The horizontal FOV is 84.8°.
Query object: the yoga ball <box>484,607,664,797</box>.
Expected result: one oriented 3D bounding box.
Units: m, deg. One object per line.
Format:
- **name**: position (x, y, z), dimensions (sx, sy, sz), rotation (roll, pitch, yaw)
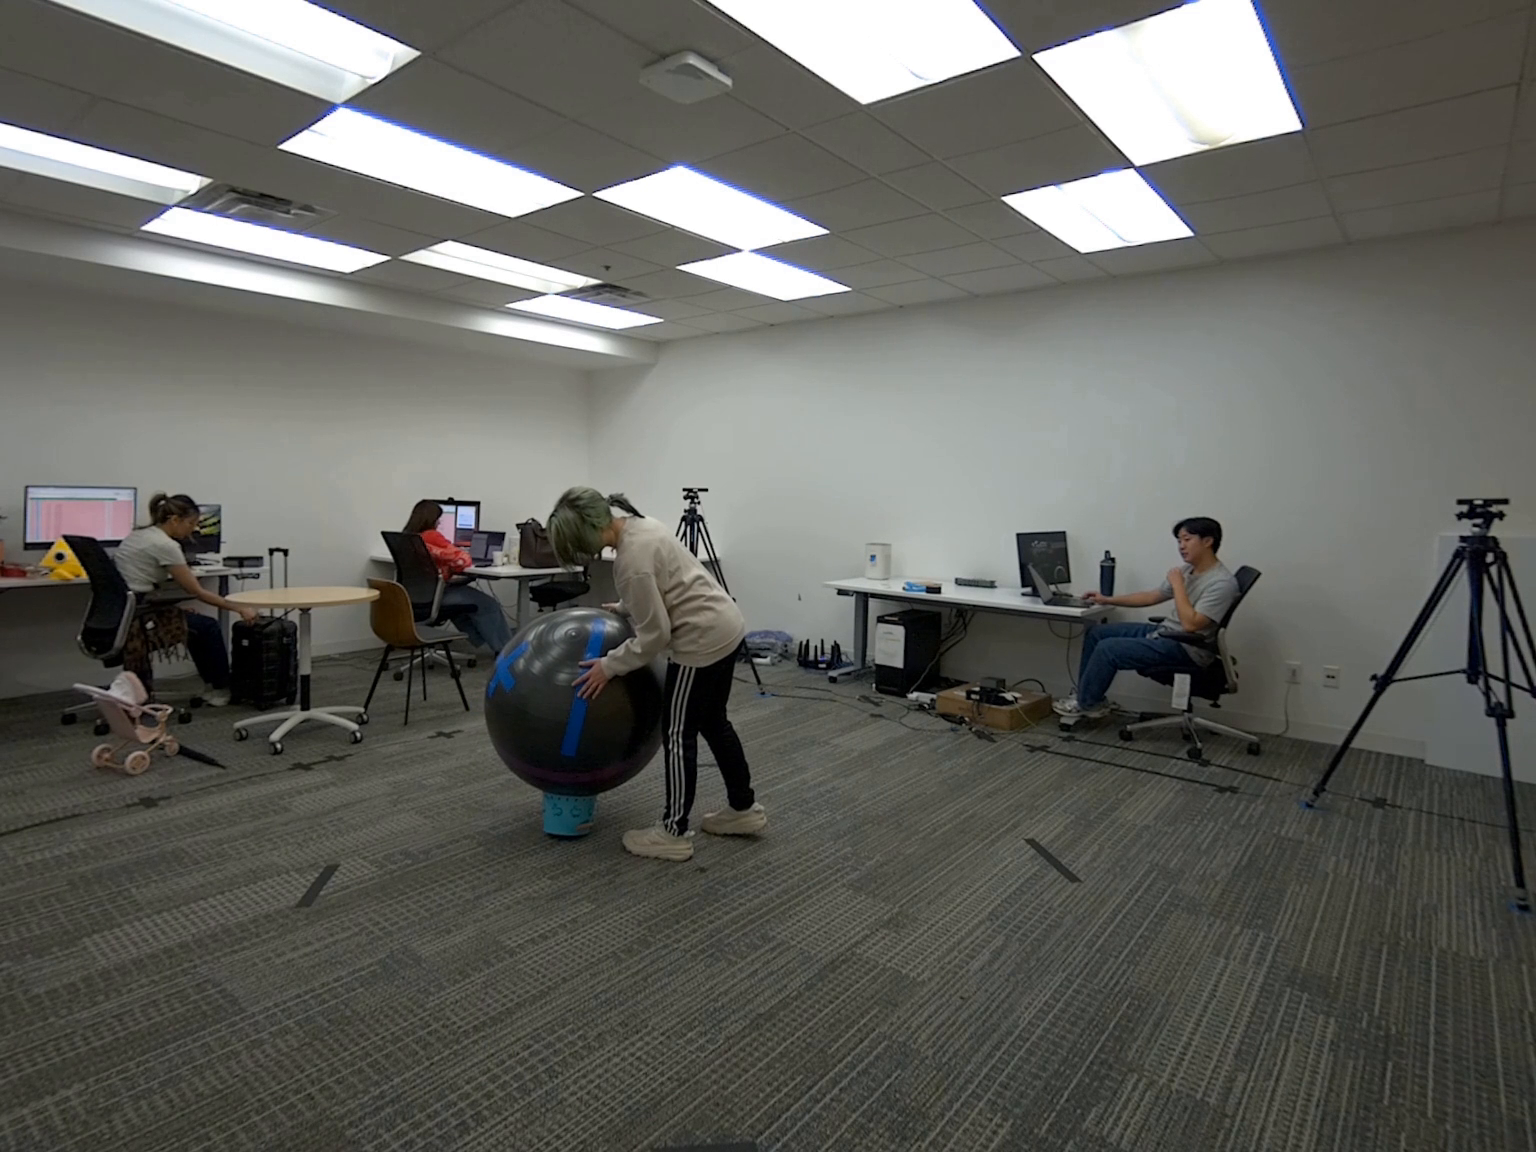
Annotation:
- **yoga ball**: position (-0.784, 0.508, 3.480), dimensions (0.757, 0.755, 0.762), rotation (1, 4, -2)
